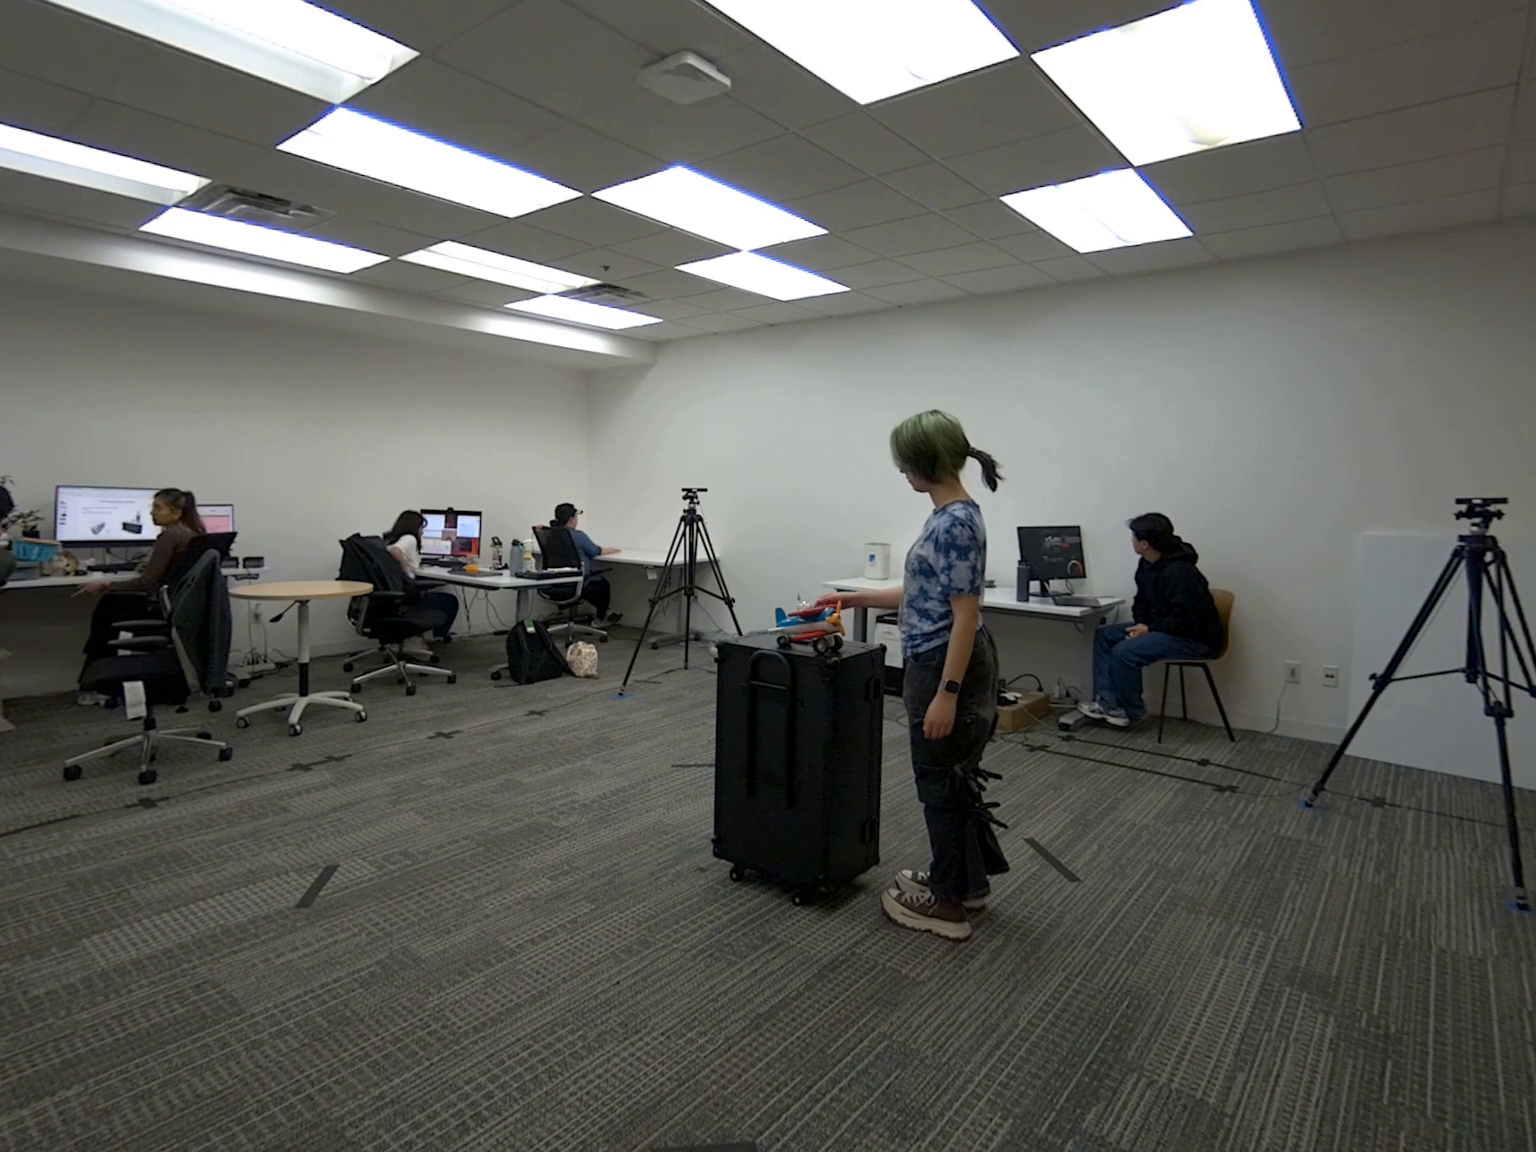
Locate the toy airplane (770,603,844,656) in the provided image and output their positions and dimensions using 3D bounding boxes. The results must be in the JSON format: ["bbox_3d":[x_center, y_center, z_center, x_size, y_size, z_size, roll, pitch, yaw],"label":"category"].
[{"bbox_3d":[0.121,0.170,2.888,0.262,0.156,0.249,3,5,9],"label":"toy airplane"}]
